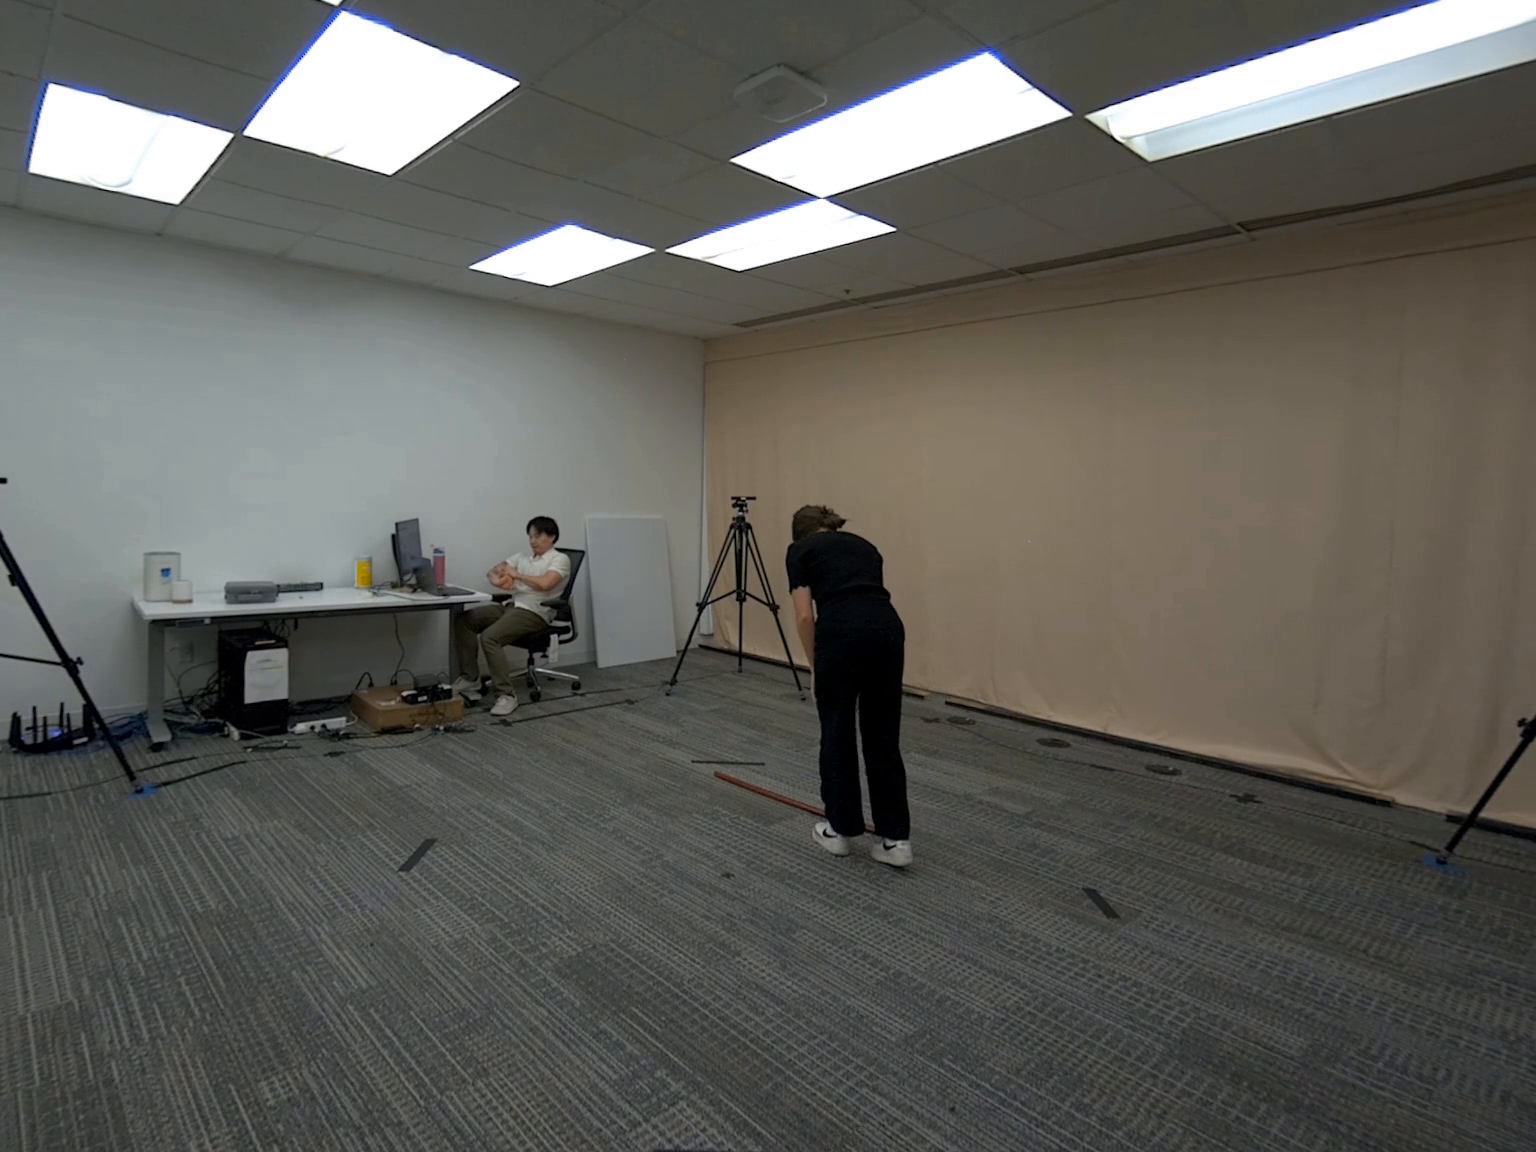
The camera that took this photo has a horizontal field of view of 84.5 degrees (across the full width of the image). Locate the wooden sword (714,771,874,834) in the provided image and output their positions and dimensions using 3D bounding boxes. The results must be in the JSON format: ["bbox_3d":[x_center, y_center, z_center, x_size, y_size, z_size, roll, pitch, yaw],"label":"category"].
[{"bbox_3d":[0.053,1.018,3.877,0.051,0.024,1.051,-26,22,-39],"label":"wooden sword"}]
